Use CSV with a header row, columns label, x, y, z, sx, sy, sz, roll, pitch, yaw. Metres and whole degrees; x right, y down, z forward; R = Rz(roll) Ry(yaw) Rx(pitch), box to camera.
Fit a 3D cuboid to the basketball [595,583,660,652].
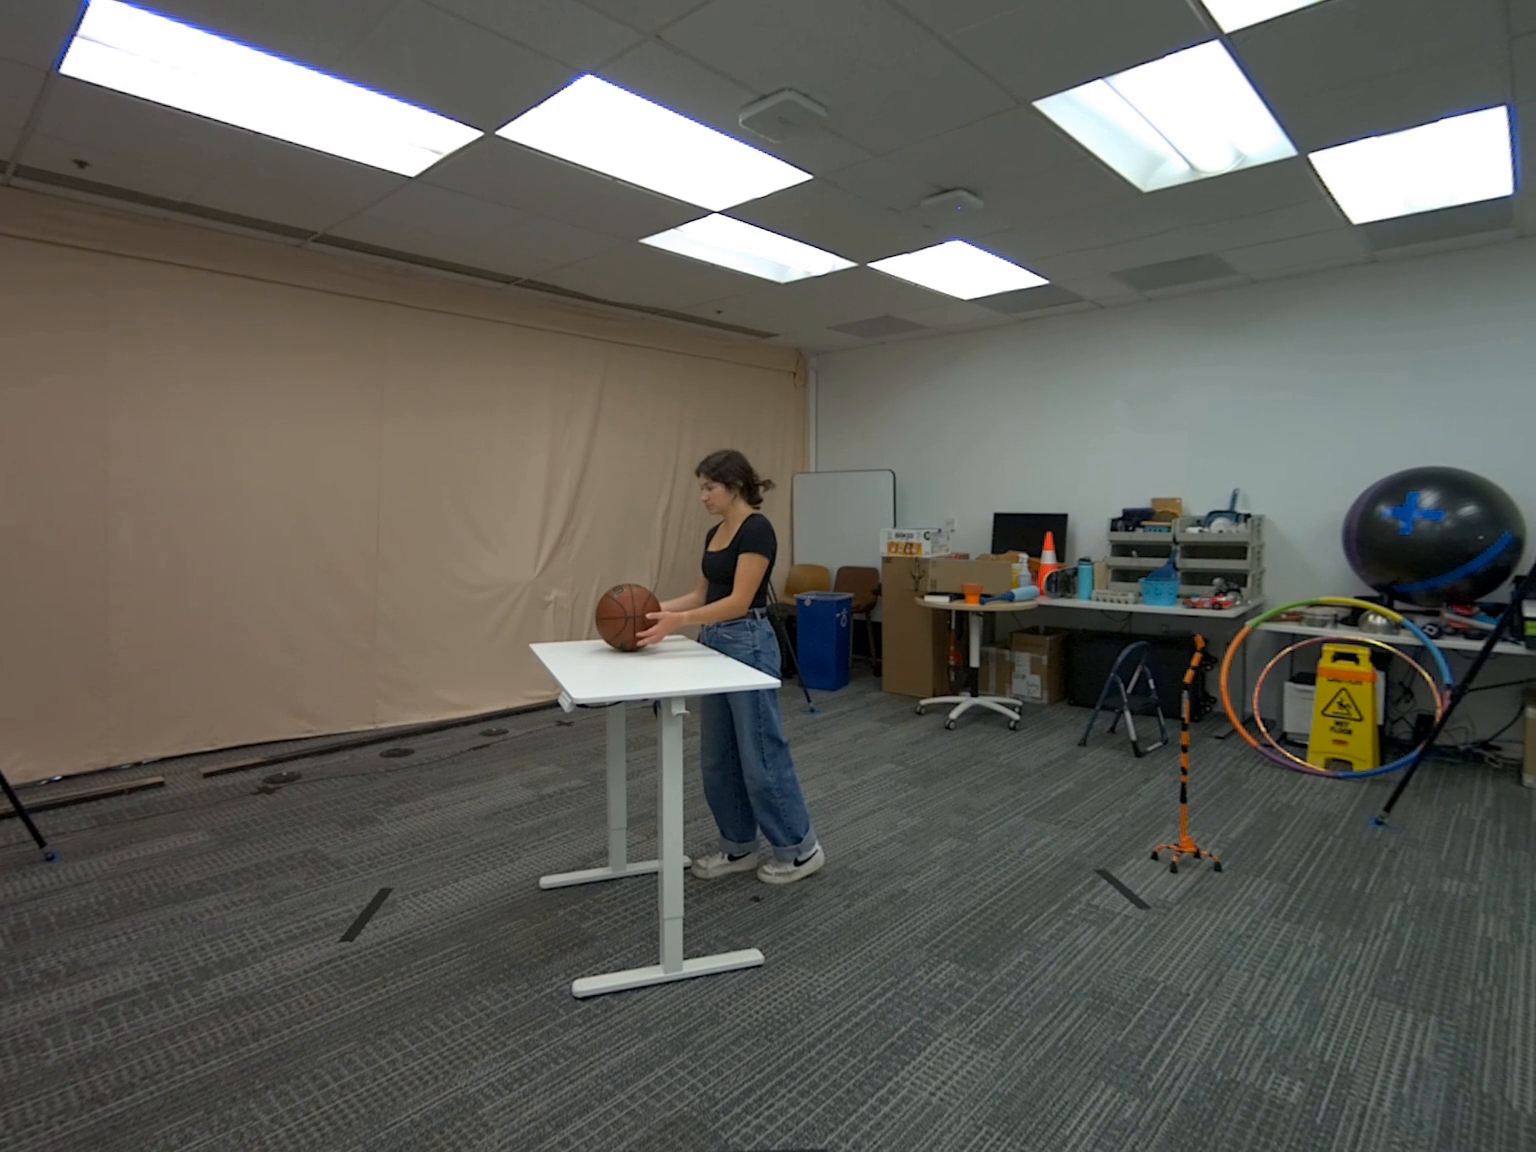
label,x,y,z,sx,sy,sz,roll,pitch,yaw
basketball,-0.492,0.147,3.003,0.236,0.235,0.237,0,4,-2
